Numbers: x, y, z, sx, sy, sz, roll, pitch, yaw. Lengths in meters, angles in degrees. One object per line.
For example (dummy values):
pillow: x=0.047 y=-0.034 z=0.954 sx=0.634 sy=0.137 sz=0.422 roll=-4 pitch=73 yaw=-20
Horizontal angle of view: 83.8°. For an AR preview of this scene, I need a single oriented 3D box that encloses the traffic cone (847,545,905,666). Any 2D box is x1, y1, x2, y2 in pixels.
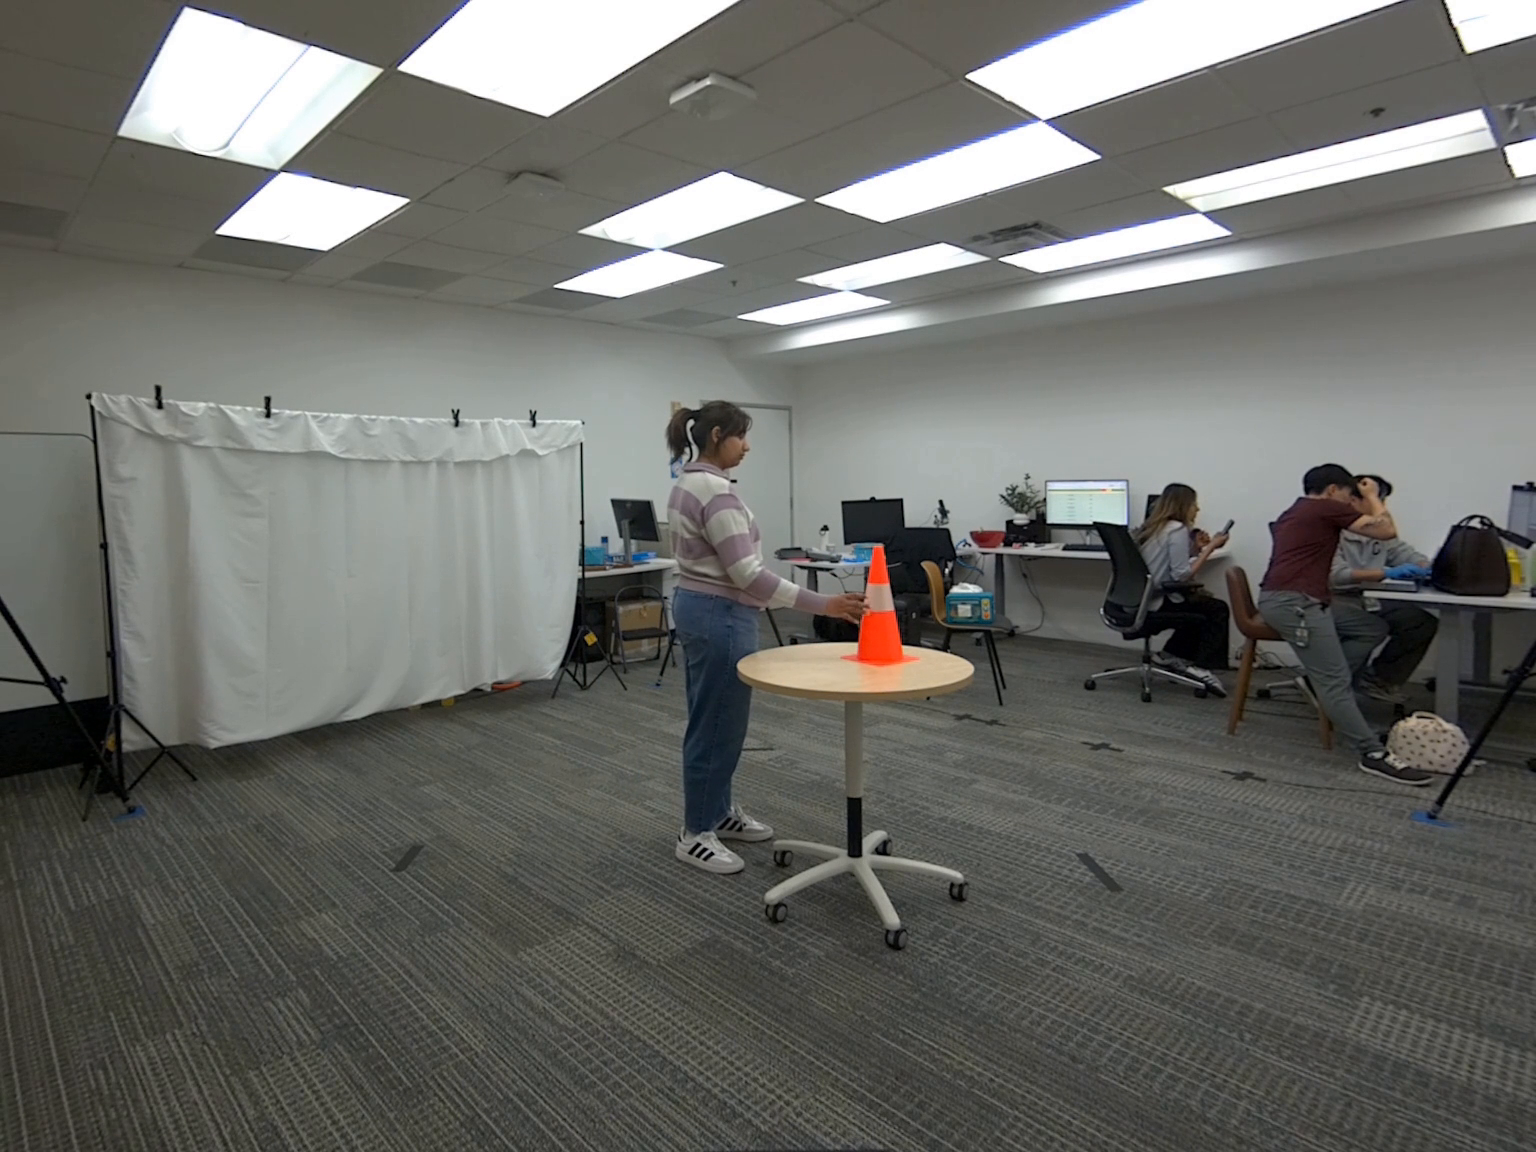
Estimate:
traffic cone: x=0.369 y=0.095 z=2.885 sx=0.200 sy=0.382 sz=0.209 roll=-6 pitch=5 yaw=-42
